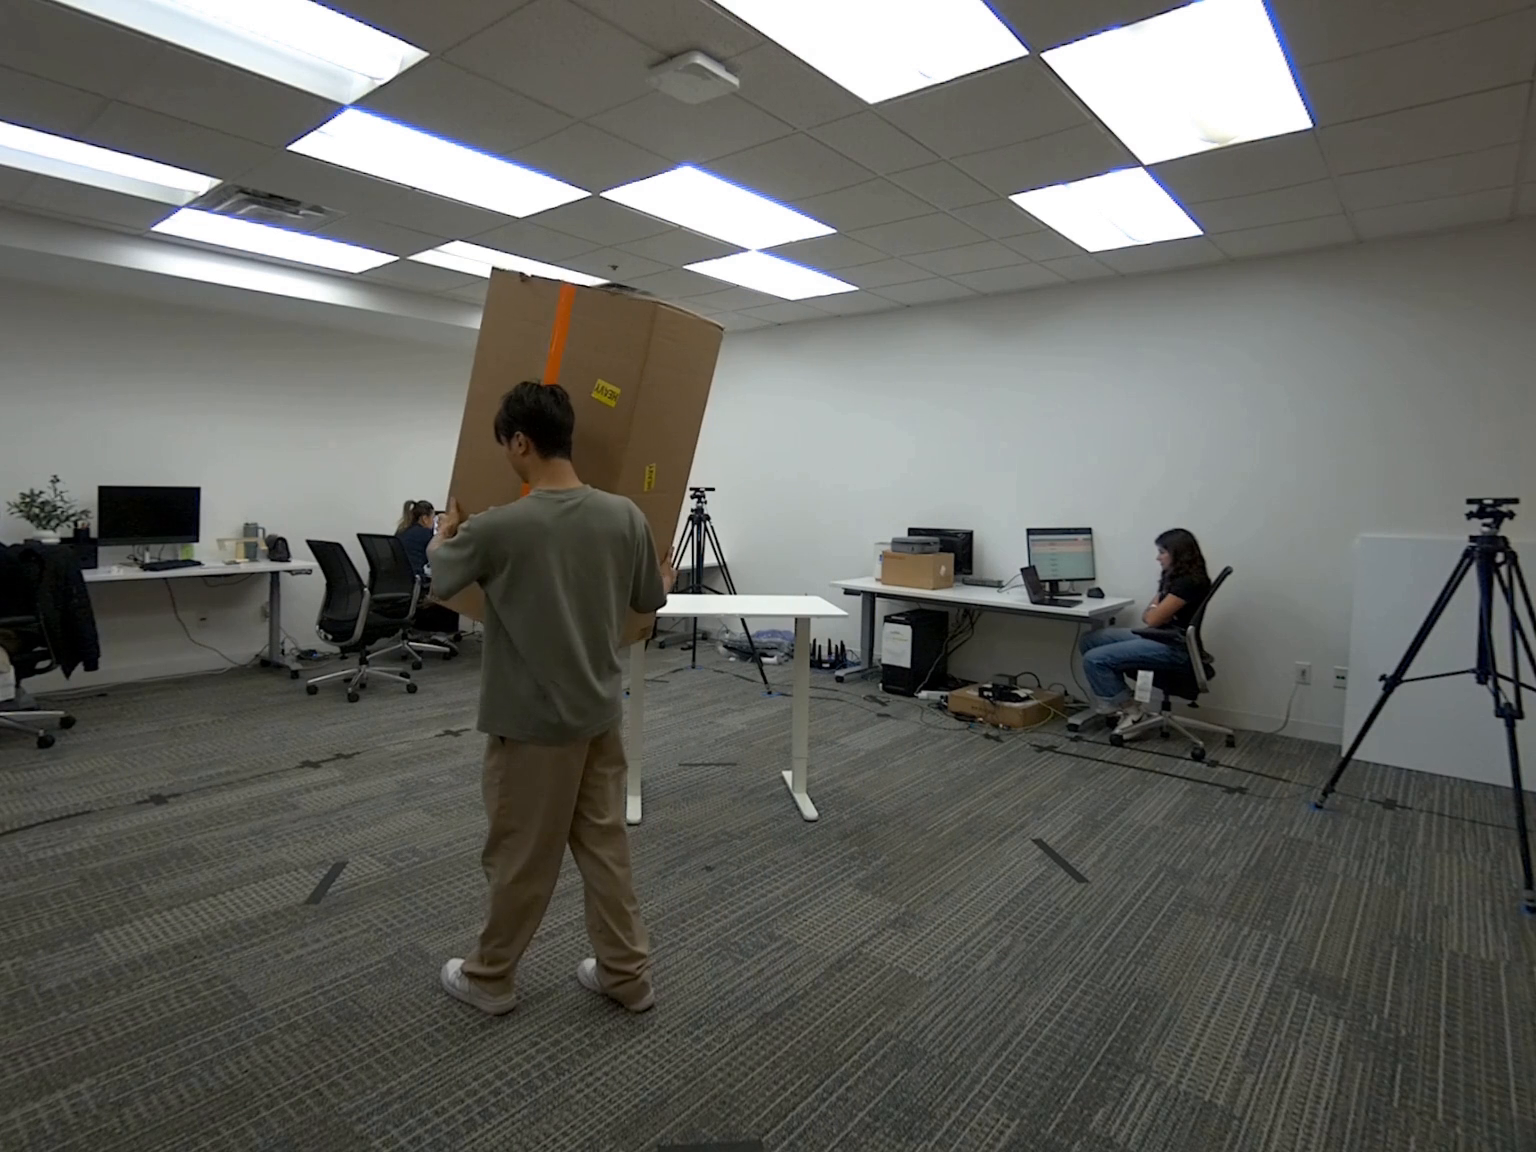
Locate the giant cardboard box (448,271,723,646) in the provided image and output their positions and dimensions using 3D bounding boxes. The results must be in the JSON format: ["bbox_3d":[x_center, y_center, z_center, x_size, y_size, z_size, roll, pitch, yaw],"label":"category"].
[{"bbox_3d":[-0.601,-0.343,2.600,0.594,1.019,0.417,18,11,22],"label":"giant cardboard box"}]
